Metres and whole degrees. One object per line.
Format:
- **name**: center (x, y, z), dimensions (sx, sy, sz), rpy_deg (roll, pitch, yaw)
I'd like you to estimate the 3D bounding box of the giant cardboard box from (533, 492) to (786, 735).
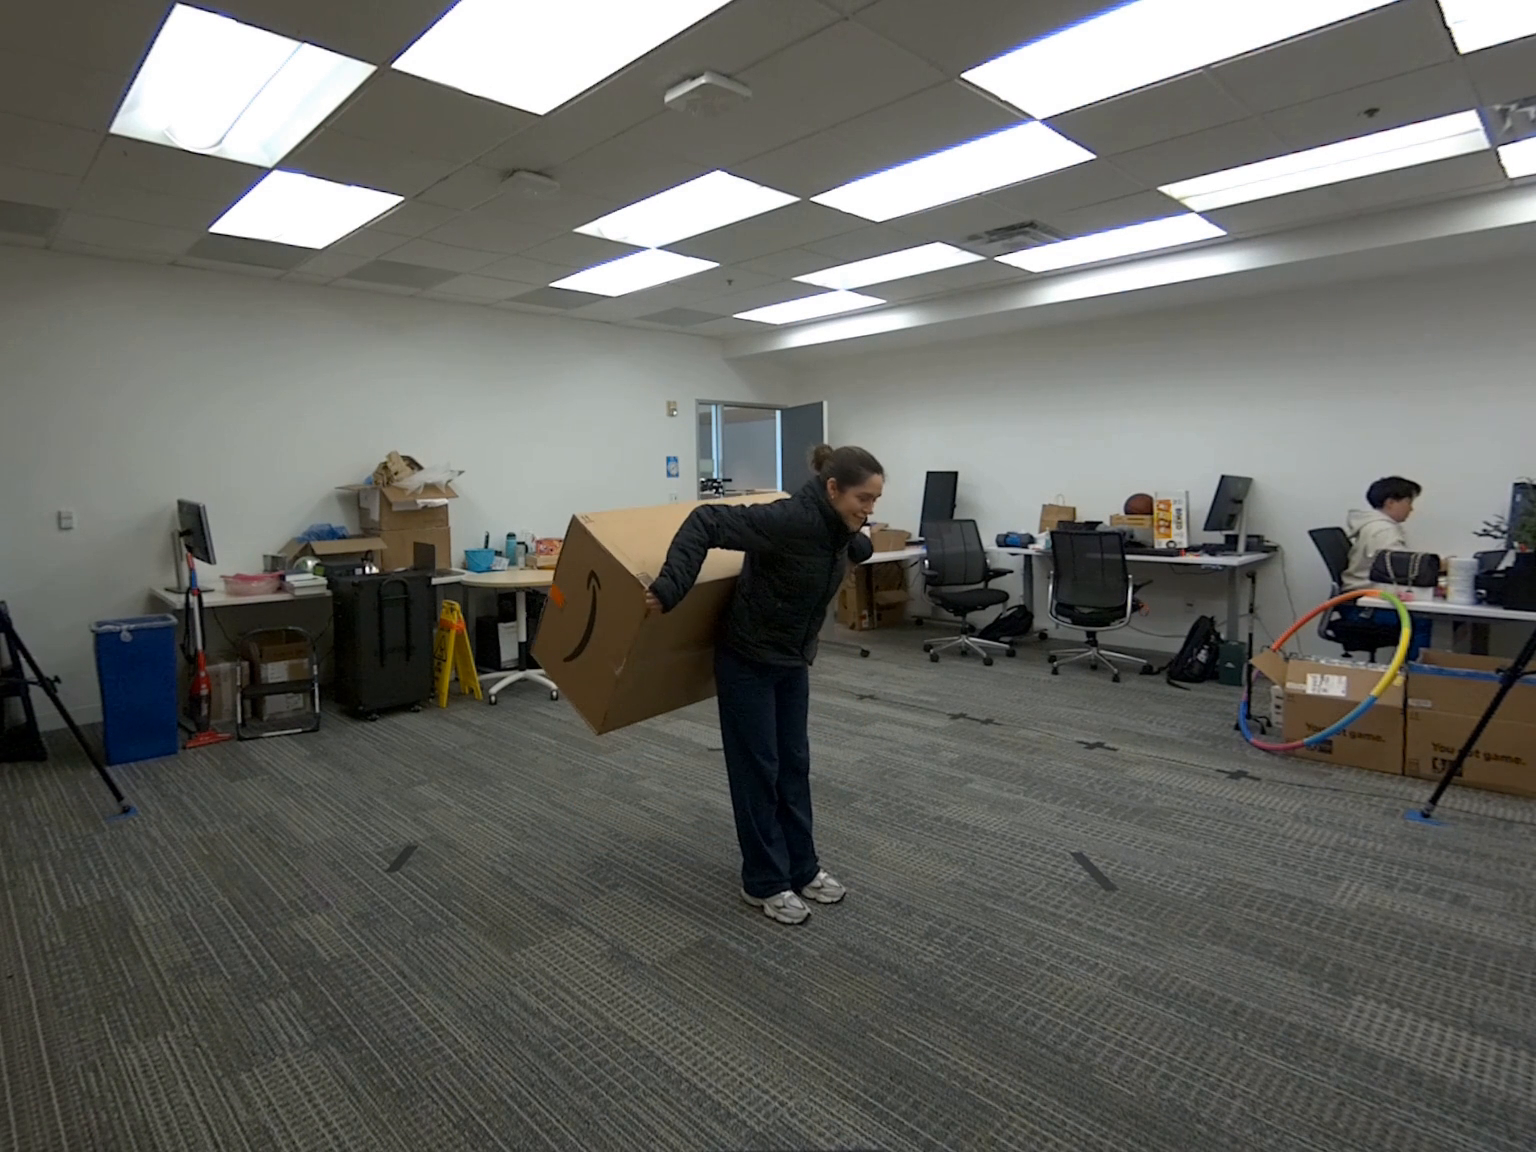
- **giant cardboard box**: center (-0.241, 0.088, 3.046), dimensions (1.001, 0.571, 0.442), rpy_deg (-11, 42, -46)
